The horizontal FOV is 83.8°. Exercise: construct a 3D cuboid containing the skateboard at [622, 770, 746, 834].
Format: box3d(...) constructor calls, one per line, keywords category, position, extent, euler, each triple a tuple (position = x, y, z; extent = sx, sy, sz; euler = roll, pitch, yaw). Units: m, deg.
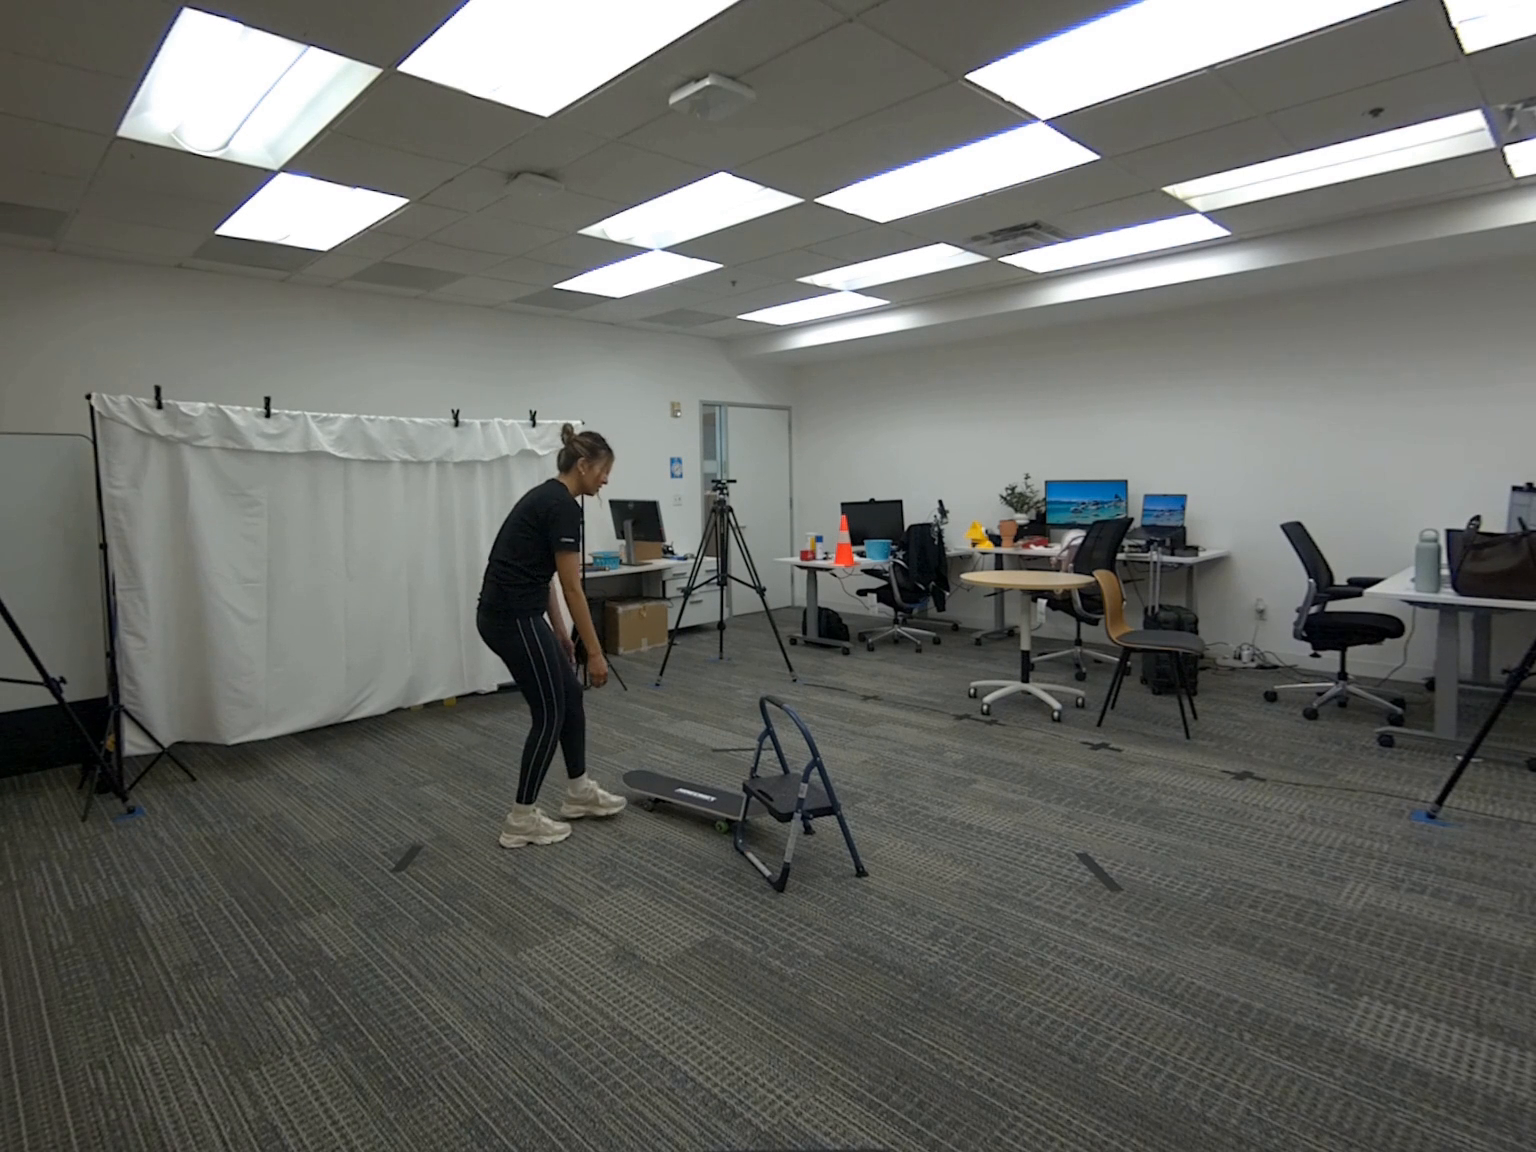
box3d(category="skateboard", position=(-0.302, 0.946, 3.566), extent=(0.809, 0.110, 0.189), euler=(4, 9, 37))
